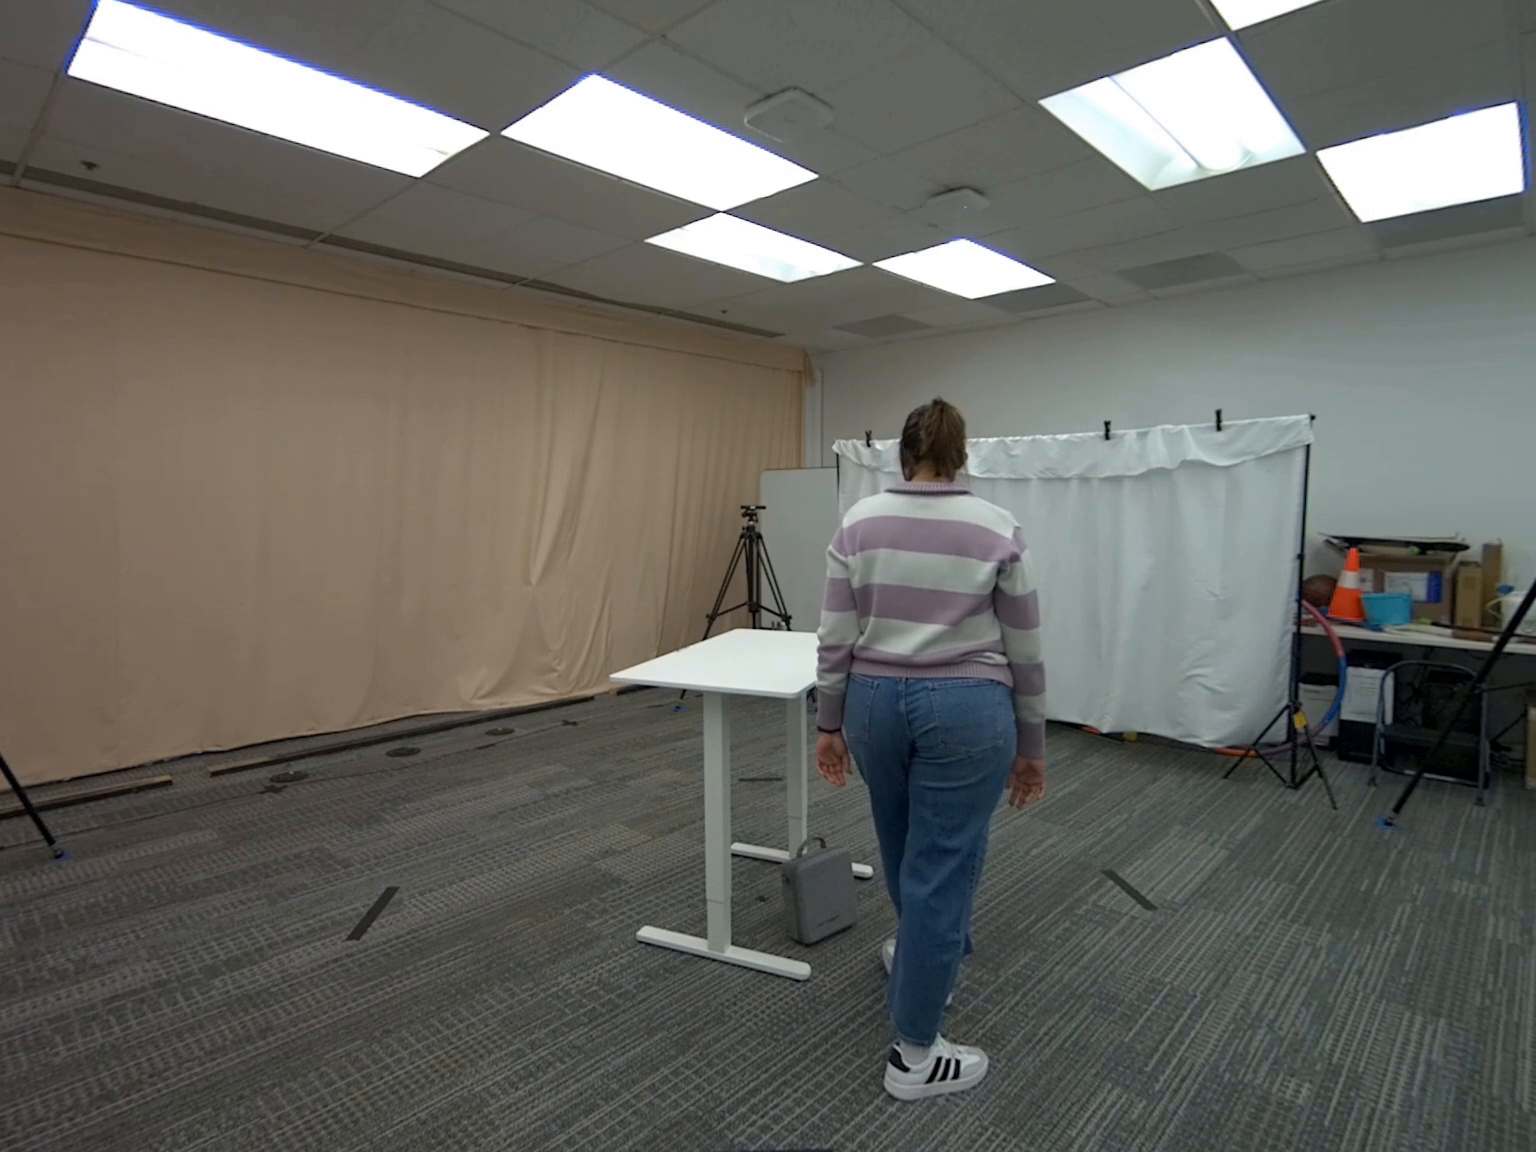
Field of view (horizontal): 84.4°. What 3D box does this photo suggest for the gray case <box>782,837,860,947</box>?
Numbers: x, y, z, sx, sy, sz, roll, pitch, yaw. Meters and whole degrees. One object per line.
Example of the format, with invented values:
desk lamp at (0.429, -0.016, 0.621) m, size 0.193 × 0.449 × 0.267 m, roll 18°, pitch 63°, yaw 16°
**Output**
gray case at (0.170, 1.034, 2.749) m, size 0.249 × 0.261 × 0.107 m, roll -3°, pitch -4°, yaw -40°
